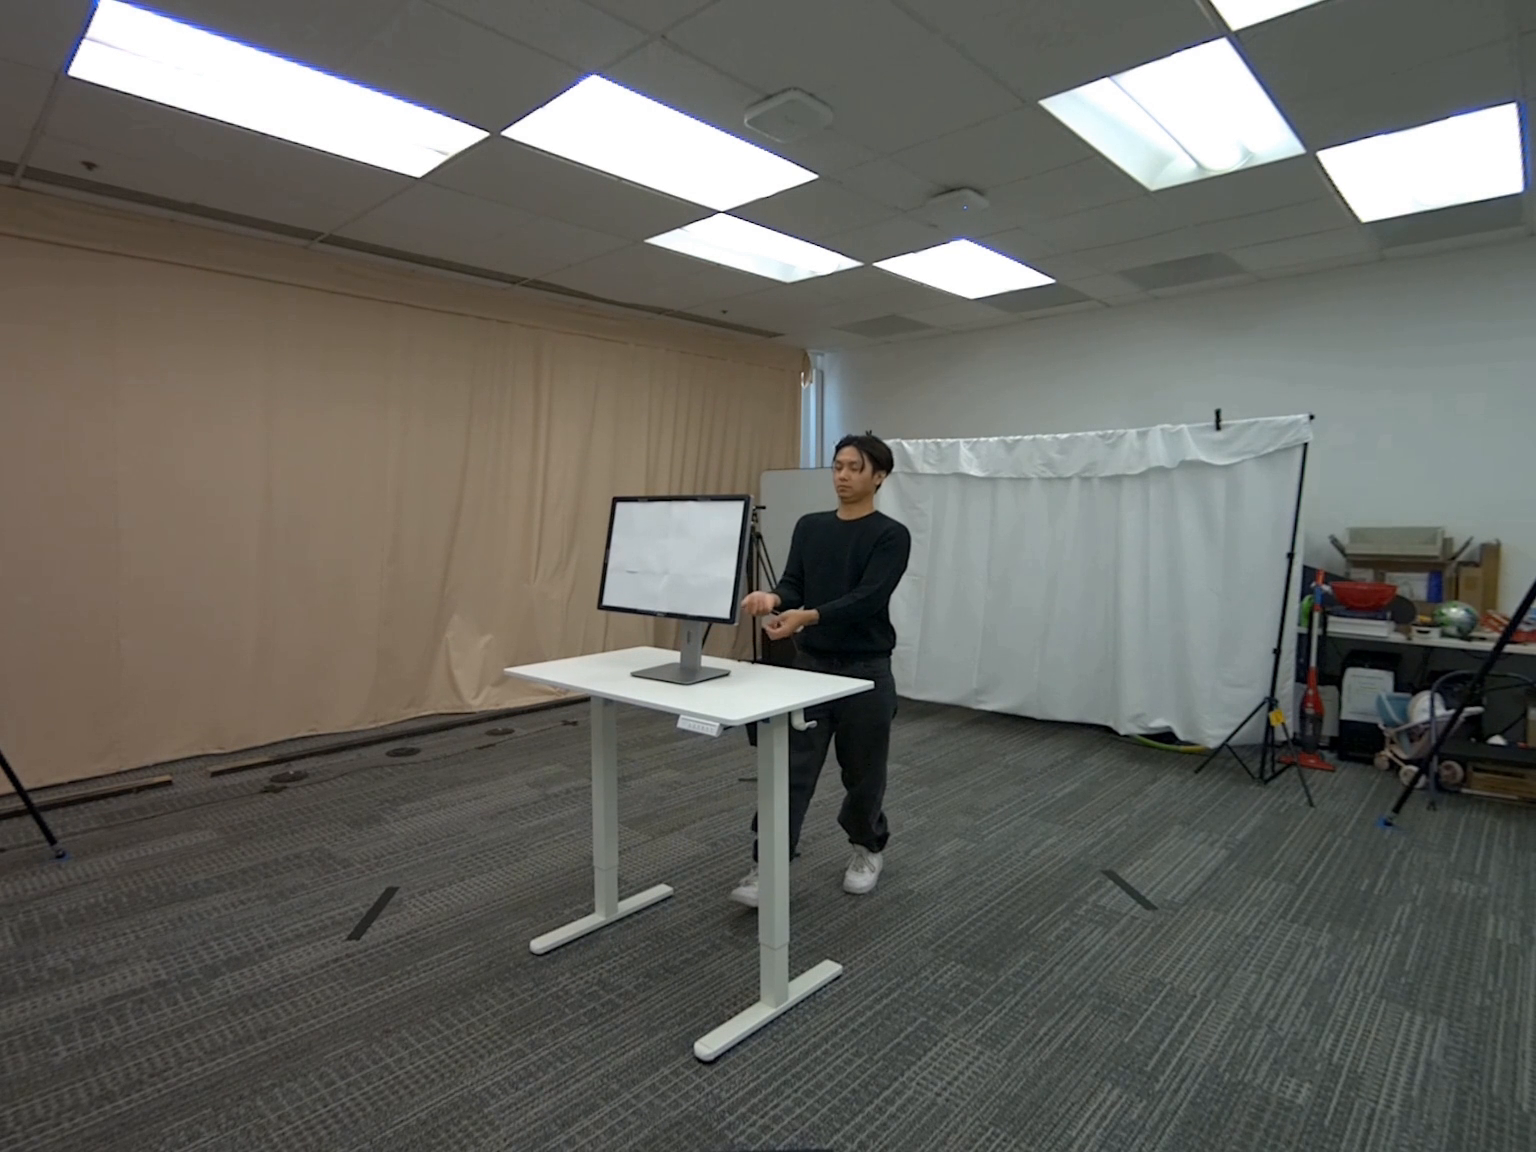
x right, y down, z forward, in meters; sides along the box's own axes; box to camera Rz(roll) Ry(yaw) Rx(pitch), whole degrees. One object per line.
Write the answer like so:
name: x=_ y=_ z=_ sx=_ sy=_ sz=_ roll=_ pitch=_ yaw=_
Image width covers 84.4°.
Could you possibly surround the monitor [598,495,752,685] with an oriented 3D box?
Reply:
monitor: x=-0.261 y=0.036 z=2.521 sx=0.556 sy=0.521 sz=0.182 roll=3 pitch=5 yaw=36
